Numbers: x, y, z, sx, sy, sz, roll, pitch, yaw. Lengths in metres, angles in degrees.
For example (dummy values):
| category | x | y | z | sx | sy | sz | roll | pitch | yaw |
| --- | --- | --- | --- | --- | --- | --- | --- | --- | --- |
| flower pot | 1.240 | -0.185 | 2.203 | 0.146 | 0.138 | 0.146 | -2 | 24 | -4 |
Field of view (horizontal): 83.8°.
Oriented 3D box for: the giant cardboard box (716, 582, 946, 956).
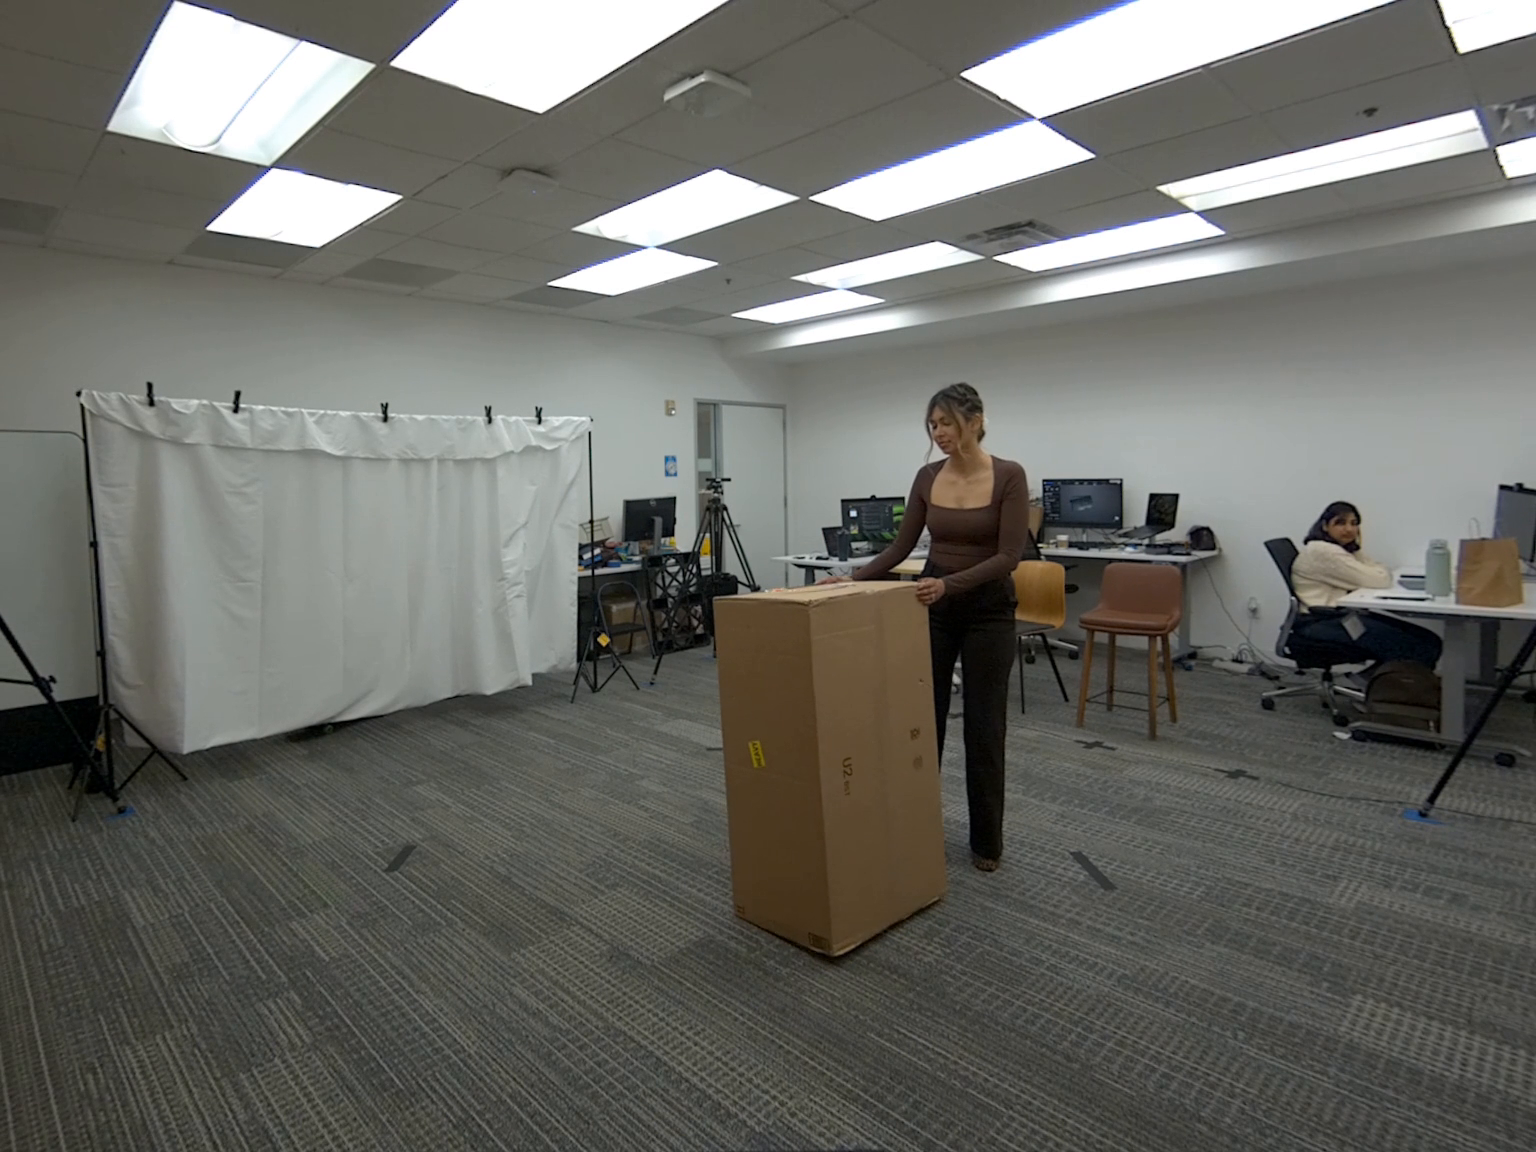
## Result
| category | x | y | z | sx | sy | sz | roll | pitch | yaw |
| --- | --- | --- | --- | --- | --- | --- | --- | --- | --- |
| giant cardboard box | 0.201 | 0.555 | 2.772 | 0.568 | 1.028 | 0.459 | -4 | 0 | -42 |
